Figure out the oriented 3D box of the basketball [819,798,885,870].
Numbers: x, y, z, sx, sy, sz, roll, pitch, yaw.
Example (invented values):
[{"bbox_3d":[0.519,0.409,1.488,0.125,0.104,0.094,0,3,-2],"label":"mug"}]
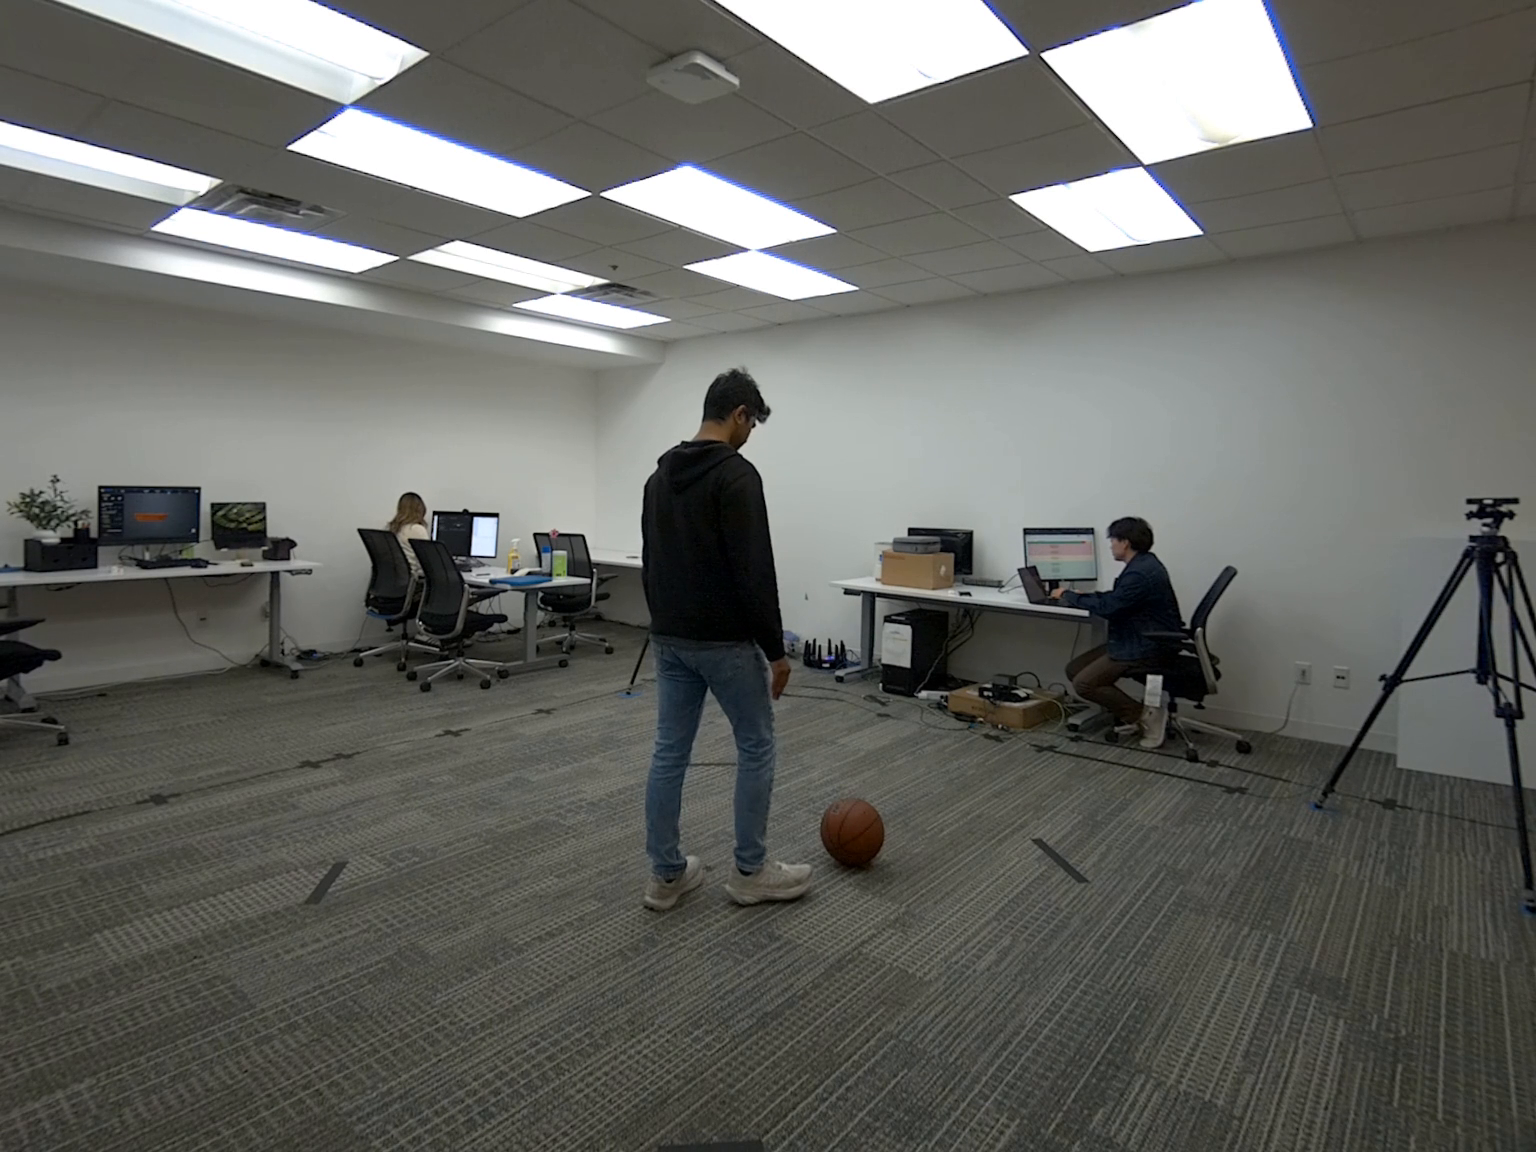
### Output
[{"bbox_3d":[0.306,0.950,3.181,0.235,0.235,0.237,1,4,-2],"label":"basketball"}]
